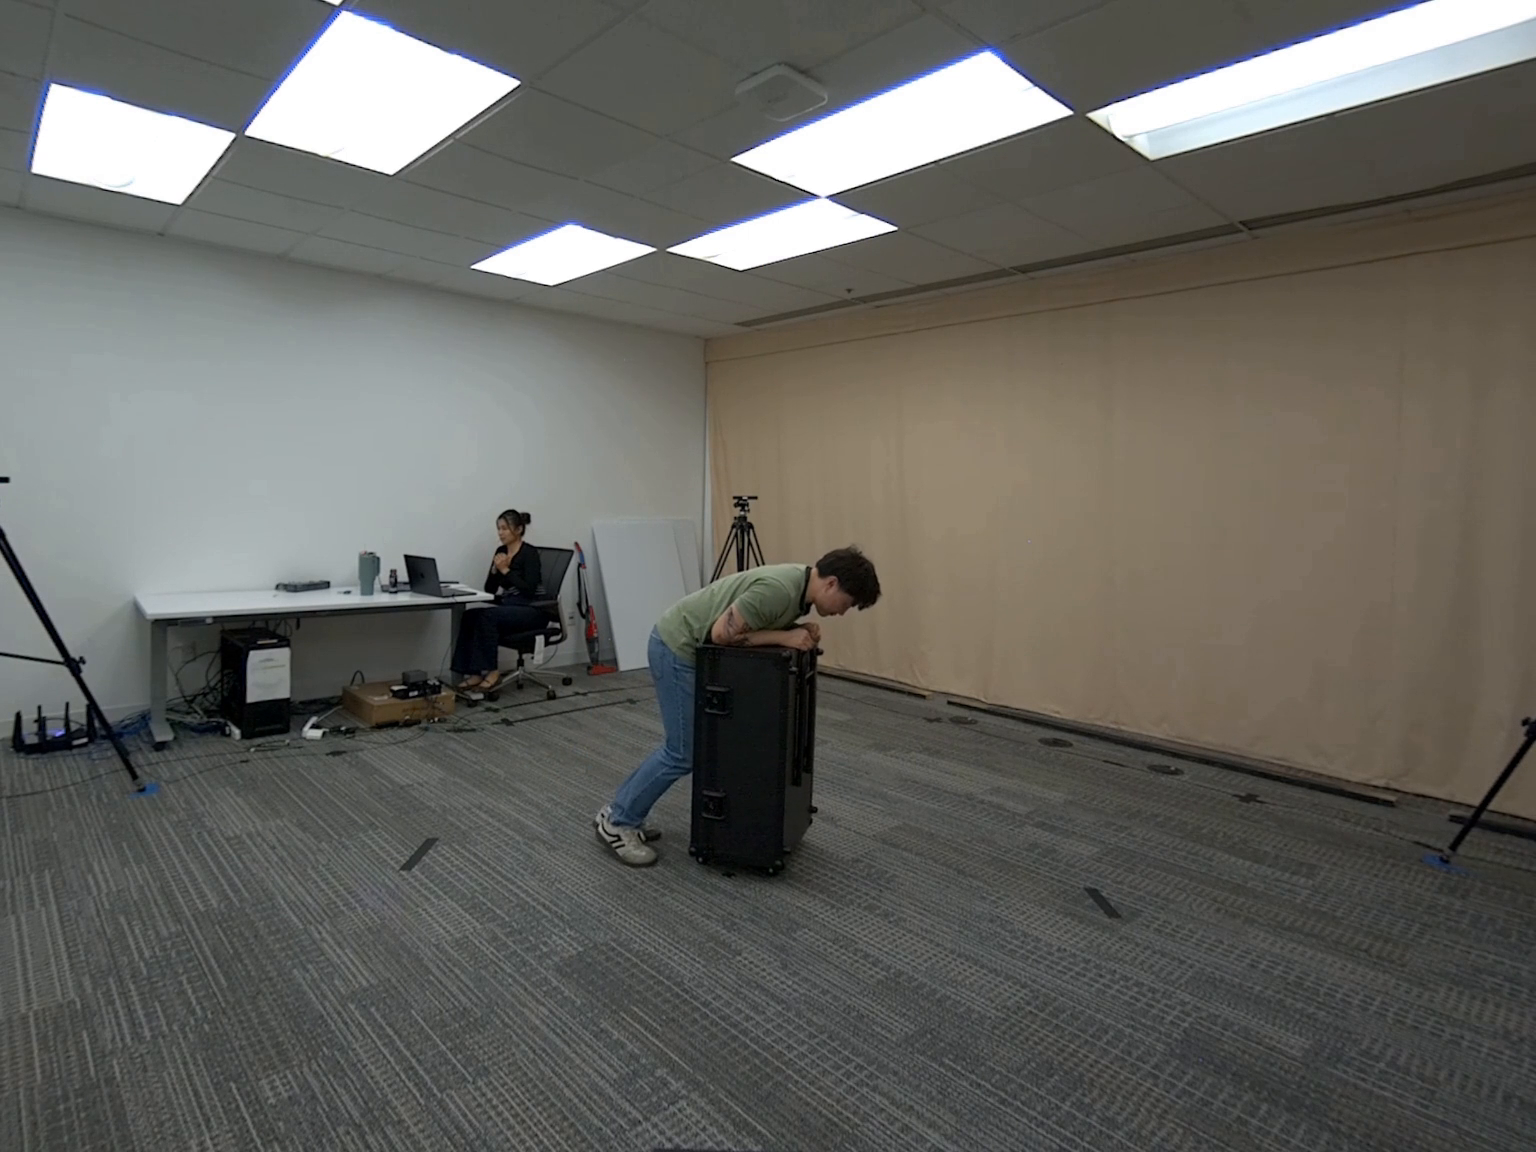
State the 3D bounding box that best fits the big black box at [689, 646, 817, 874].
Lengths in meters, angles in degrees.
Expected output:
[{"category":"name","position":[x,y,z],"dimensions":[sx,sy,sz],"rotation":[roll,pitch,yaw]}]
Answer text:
[{"category":"big black box","position":[-0.034,0.676,3.249],"dimensions":[0.402,0.859,0.515],"rotation":[4,4,17]}]
